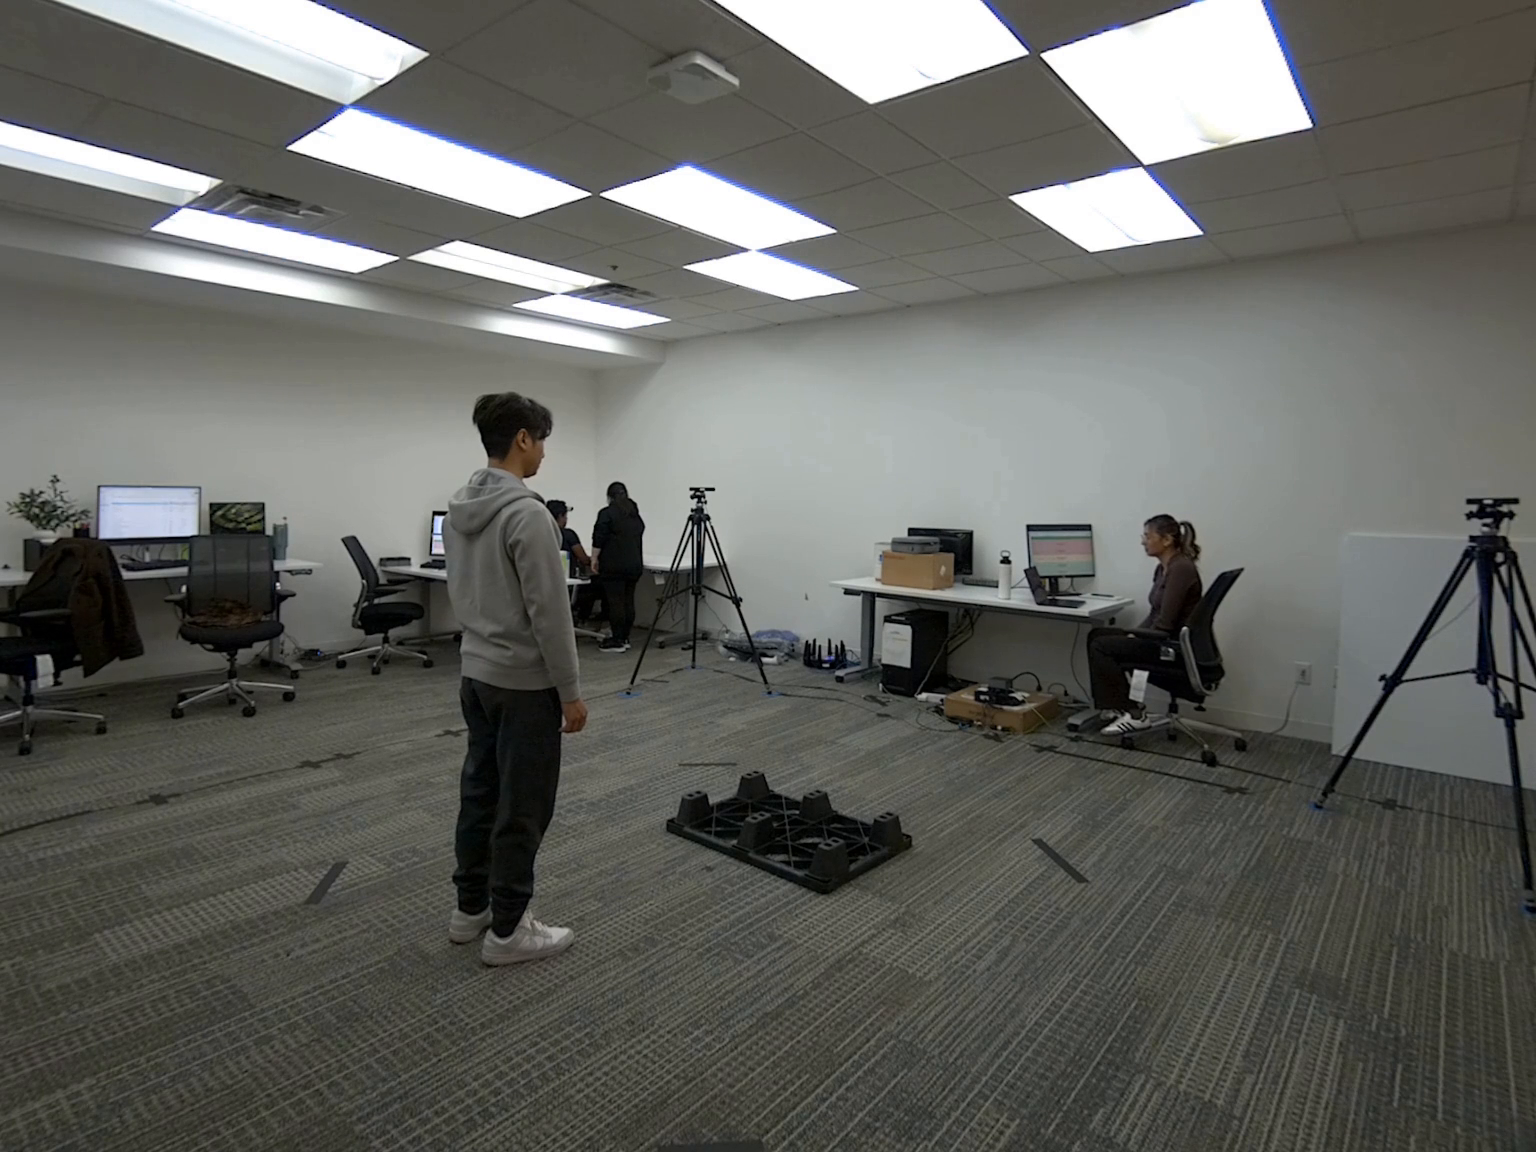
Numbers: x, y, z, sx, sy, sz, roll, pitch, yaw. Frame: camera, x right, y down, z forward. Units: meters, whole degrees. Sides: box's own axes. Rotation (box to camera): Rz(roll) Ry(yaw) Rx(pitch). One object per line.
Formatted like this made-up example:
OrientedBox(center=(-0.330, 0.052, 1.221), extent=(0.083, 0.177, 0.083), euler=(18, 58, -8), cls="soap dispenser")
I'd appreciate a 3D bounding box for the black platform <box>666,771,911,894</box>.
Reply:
OrientedBox(center=(0.063, 0.977, 3.399), extent=(0.833, 0.143, 0.587), euler=(6, 7, 40), cls="black platform")
